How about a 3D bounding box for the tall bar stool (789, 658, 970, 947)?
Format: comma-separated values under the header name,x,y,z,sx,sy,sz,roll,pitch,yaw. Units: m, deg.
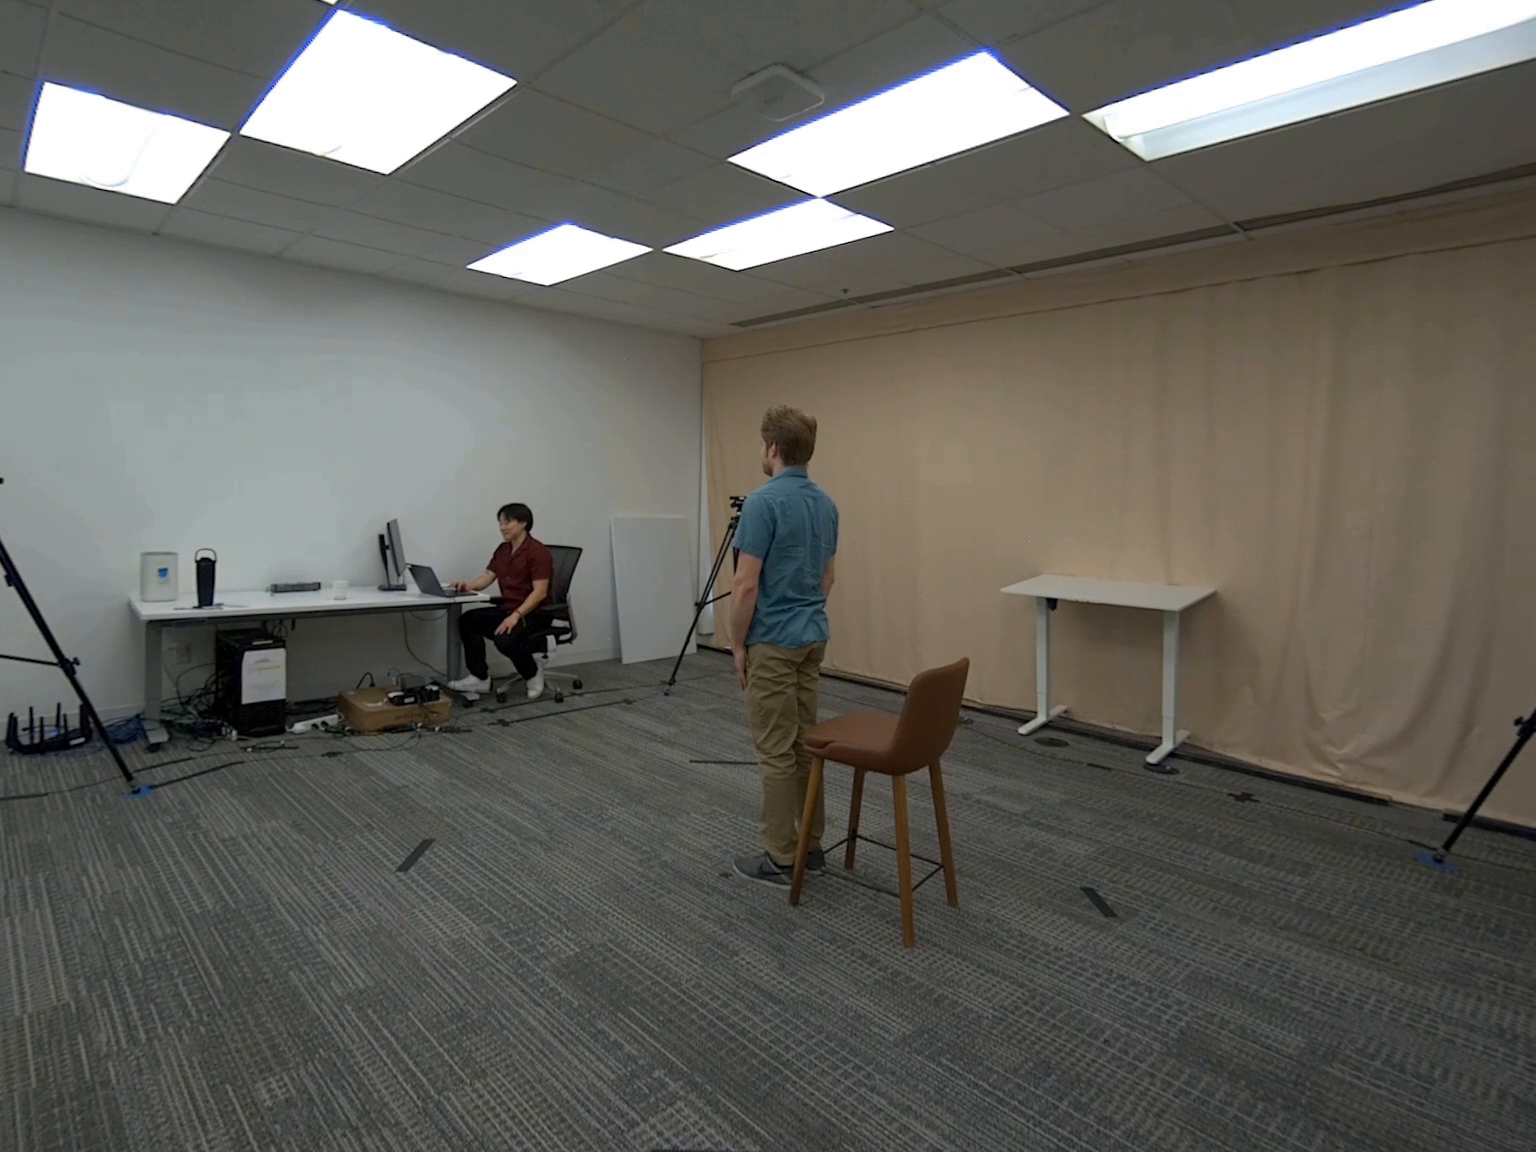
name,x,y,z,sx,sy,sz,roll,pitch,yaw
tall bar stool,0.378,0.702,2.874,0.479,0.886,0.447,7,7,36
